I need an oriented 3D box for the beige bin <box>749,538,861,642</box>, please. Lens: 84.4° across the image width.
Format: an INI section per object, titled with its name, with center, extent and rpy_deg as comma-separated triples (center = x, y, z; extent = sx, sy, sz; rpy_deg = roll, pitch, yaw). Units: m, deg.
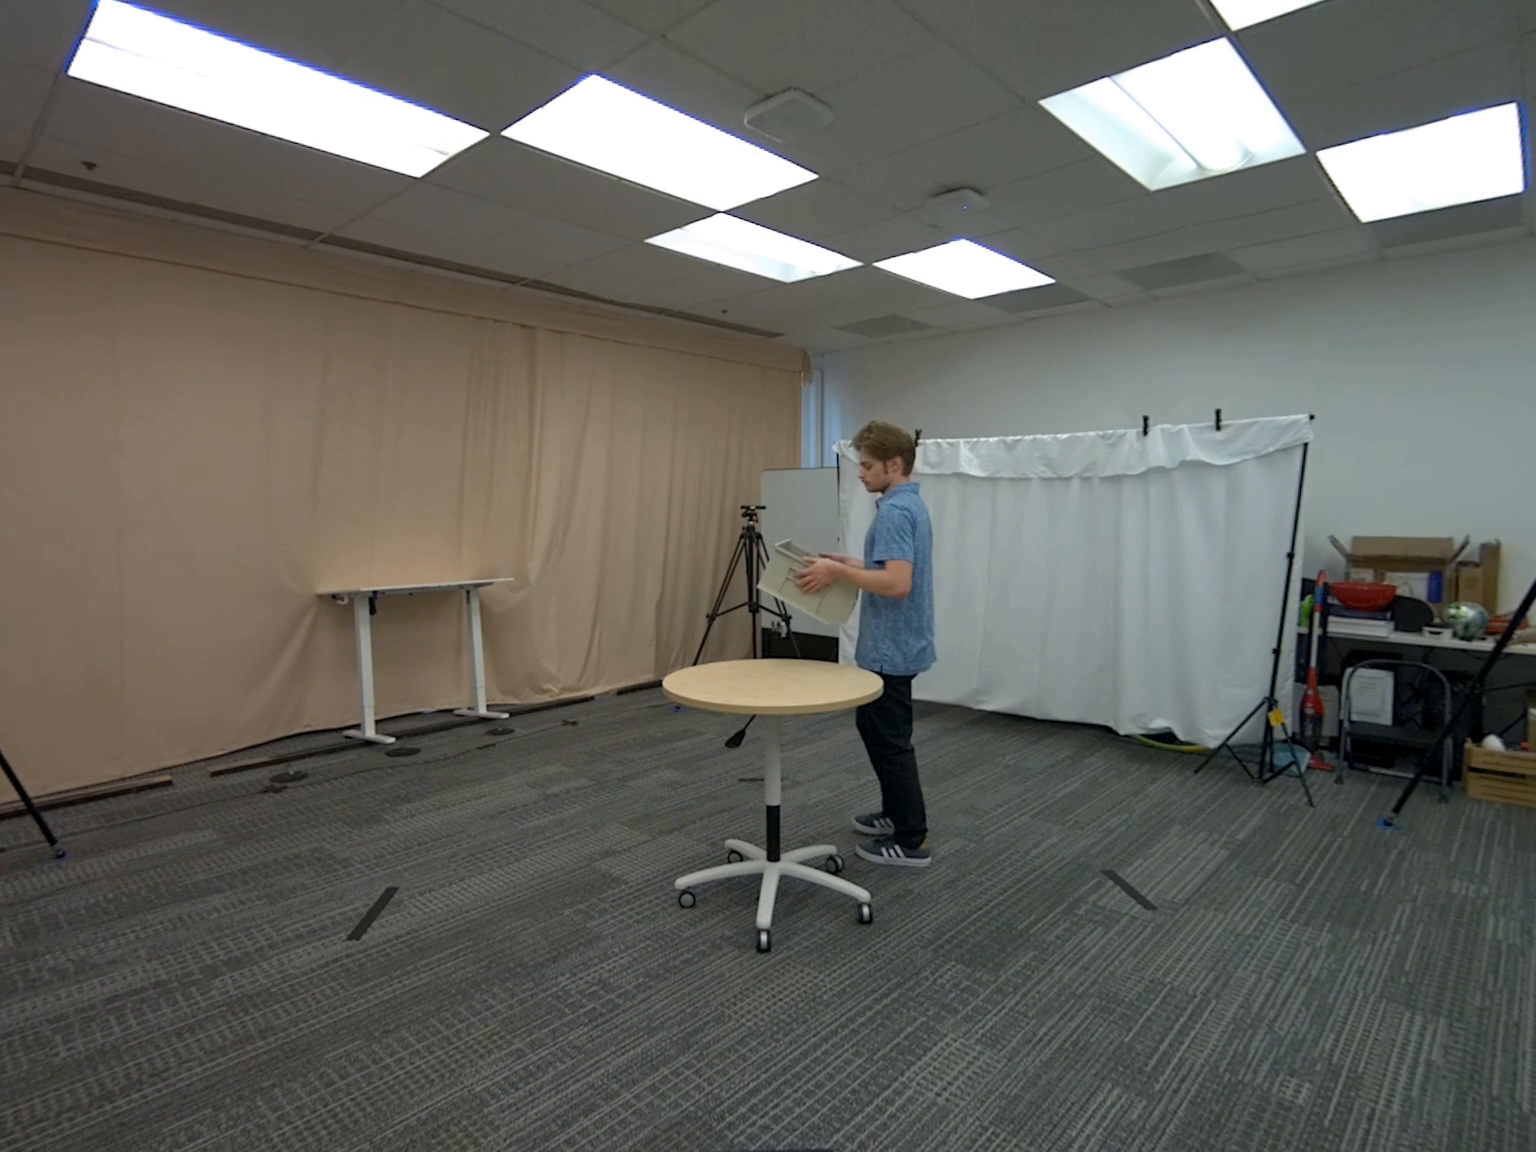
[beige bin]
center = 0.180, 0.041, 3.394
extent = 0.382, 0.188, 0.418
rpy_deg = 26, 15, 9
